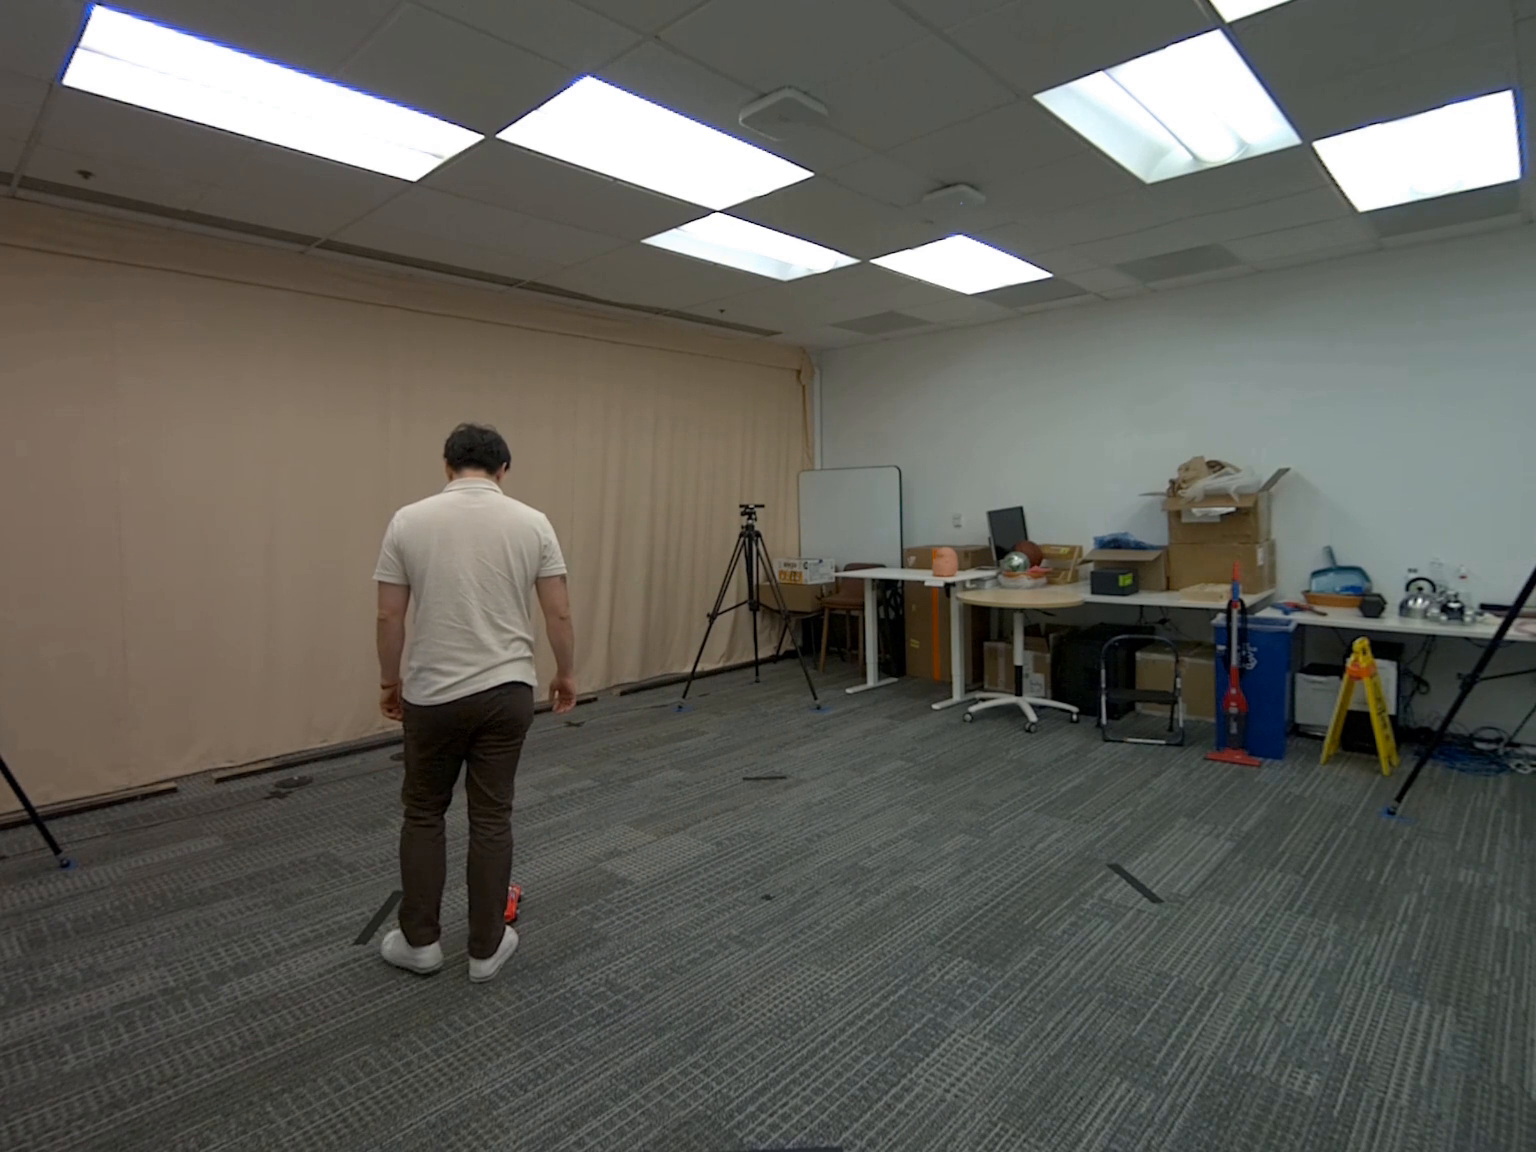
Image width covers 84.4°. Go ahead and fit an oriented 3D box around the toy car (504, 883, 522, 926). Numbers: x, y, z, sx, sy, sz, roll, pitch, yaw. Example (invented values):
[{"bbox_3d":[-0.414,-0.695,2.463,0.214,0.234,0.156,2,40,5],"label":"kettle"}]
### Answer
[{"bbox_3d":[-0.923,1.136,2.893,0.129,0.083,0.255,0,-7,-9],"label":"toy car"}]
